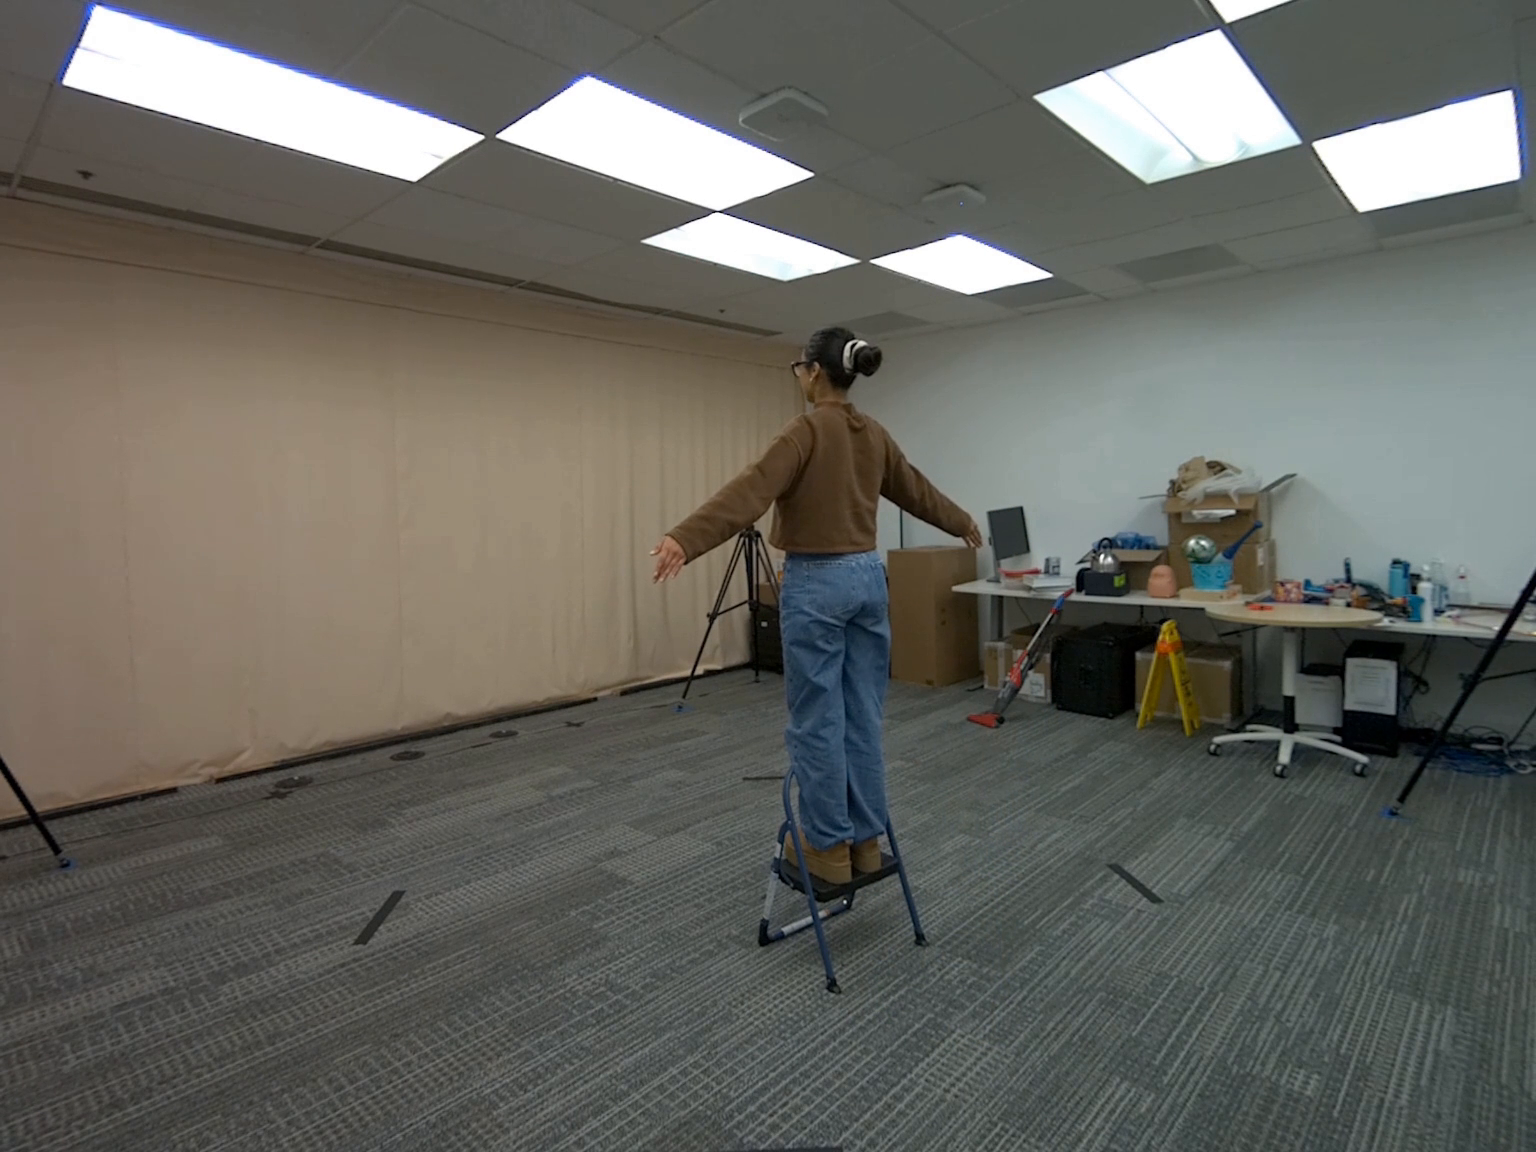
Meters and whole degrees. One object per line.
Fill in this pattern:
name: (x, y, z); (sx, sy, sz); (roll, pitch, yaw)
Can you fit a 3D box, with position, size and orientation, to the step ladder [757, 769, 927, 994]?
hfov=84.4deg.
step ladder: (0.232, 0.864, 2.643); (0.418, 0.605, 0.361); (-4, 4, -40)
